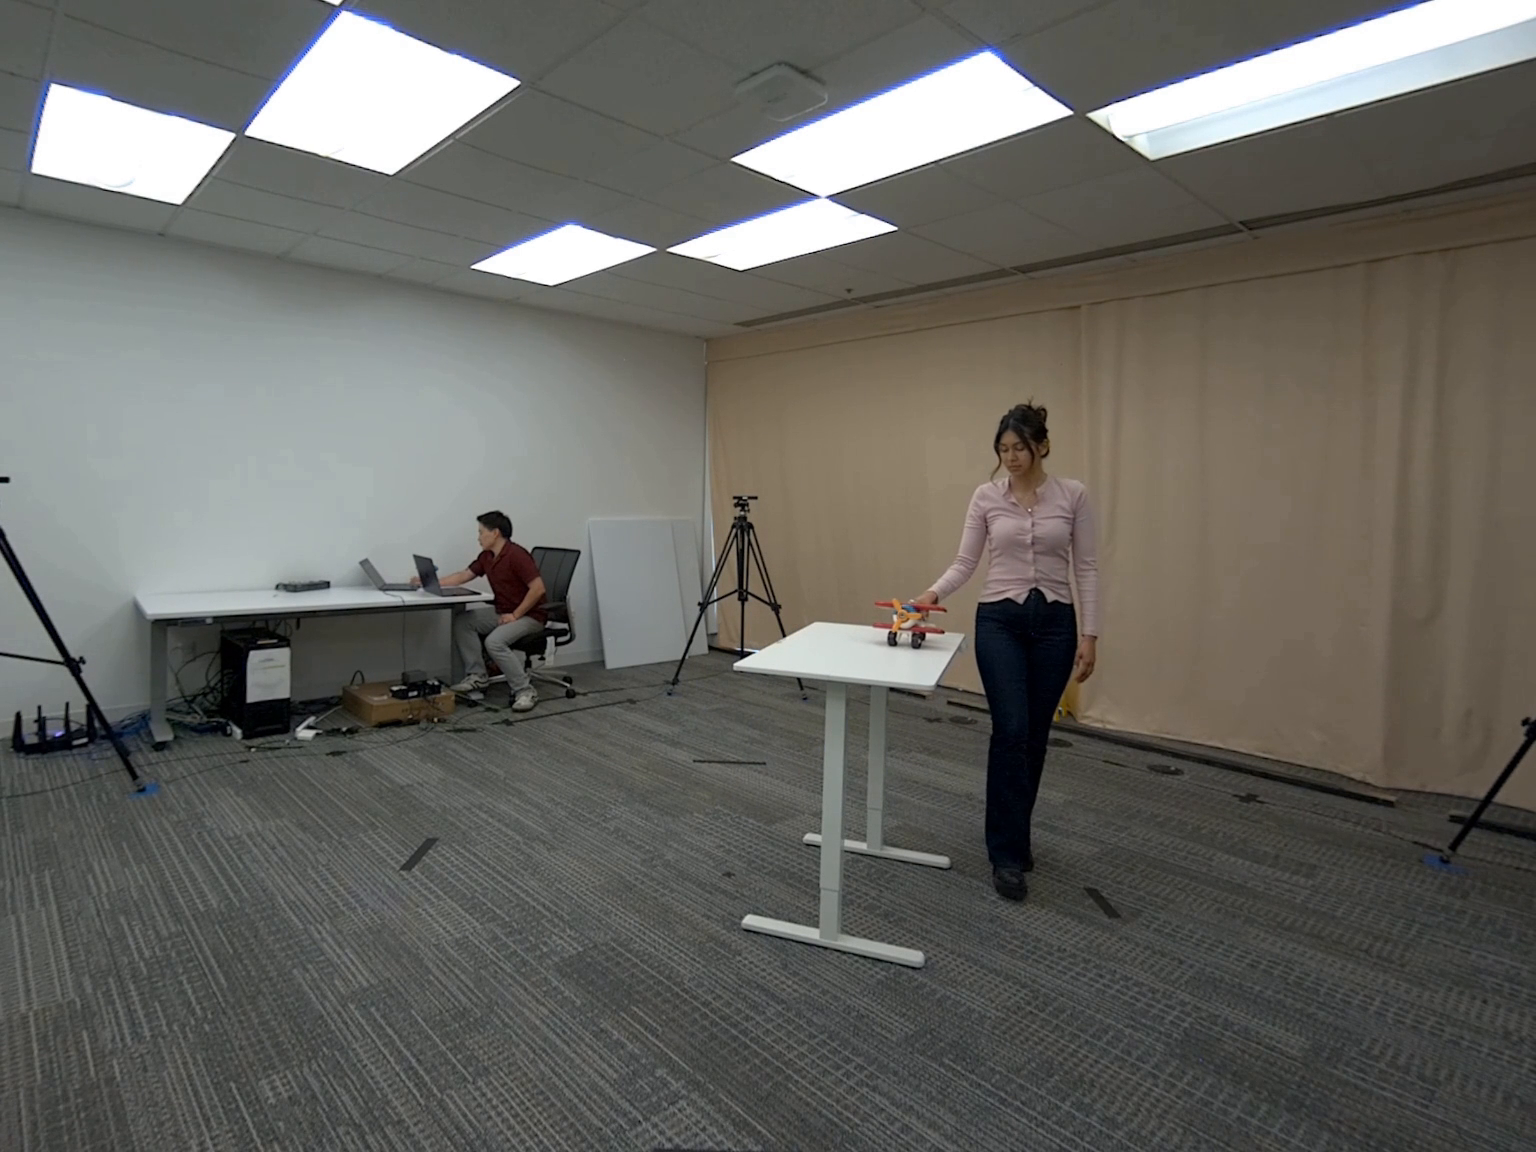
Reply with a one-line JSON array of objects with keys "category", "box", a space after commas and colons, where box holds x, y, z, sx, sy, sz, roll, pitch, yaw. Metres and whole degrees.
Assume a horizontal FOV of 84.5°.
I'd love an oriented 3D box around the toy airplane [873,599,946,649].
[{"category": "toy airplane", "box": [0.492, 0.168, 3.032, 0.250, 0.156, 0.261, 2, 5, -4]}]
